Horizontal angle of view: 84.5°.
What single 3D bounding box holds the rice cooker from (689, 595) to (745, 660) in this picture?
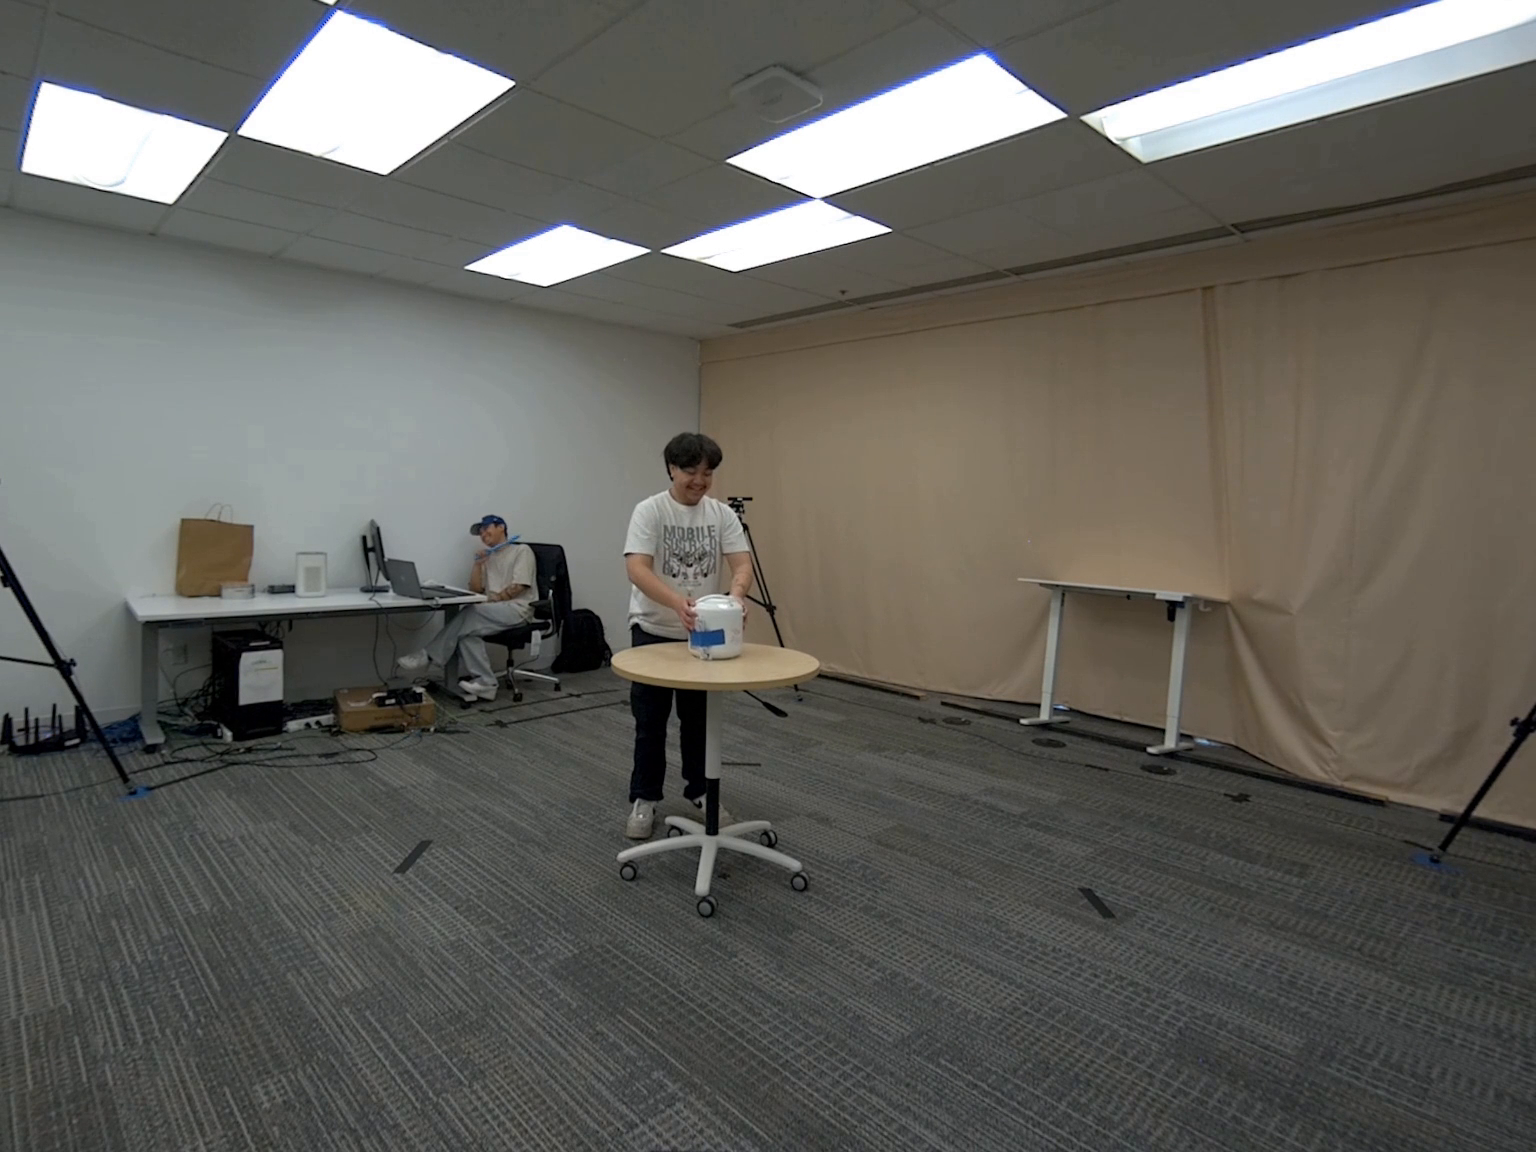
[{"bbox_3d":[-0.208,0.187,3.180,0.217,0.232,0.222,2,5,-23],"label":"rice cooker"}]
